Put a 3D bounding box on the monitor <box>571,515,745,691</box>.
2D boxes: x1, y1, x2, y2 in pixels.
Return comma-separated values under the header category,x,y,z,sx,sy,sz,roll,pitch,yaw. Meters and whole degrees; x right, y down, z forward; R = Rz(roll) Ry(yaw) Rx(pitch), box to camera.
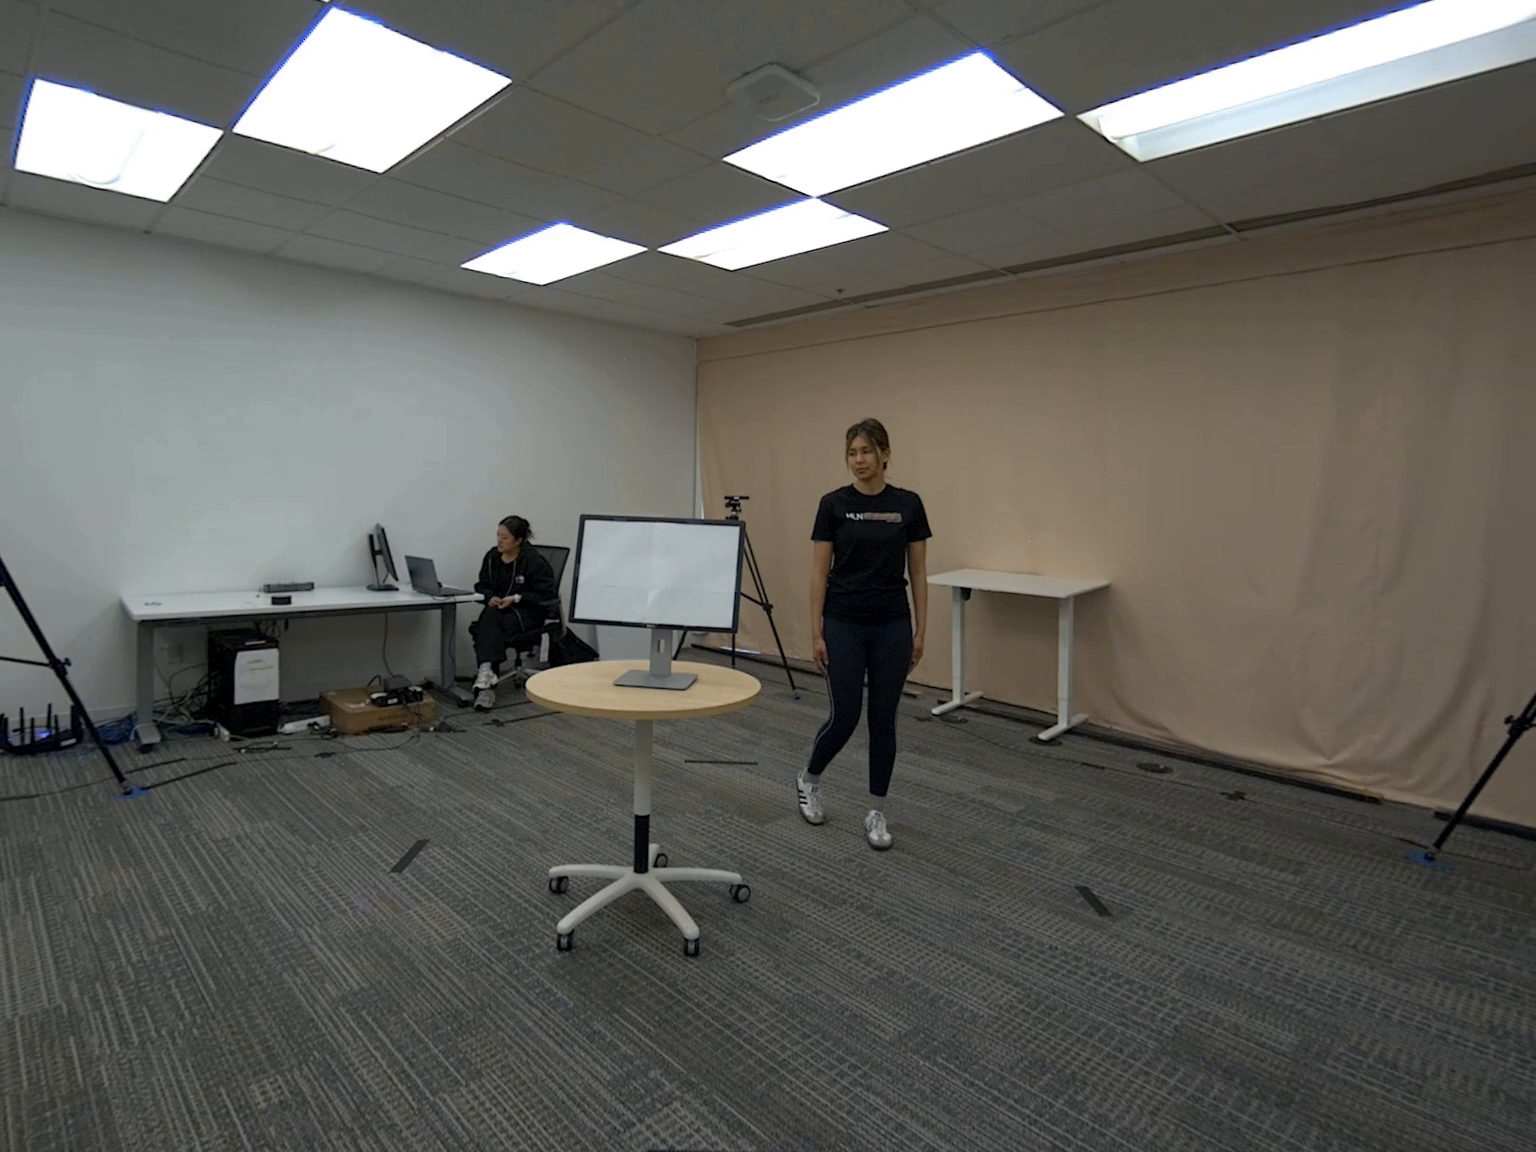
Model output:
category,x,y,z,sx,sy,sz,roll,pitch,yaw
monitor,-0.360,0.088,2.765,0.543,0.521,0.186,3,3,8
